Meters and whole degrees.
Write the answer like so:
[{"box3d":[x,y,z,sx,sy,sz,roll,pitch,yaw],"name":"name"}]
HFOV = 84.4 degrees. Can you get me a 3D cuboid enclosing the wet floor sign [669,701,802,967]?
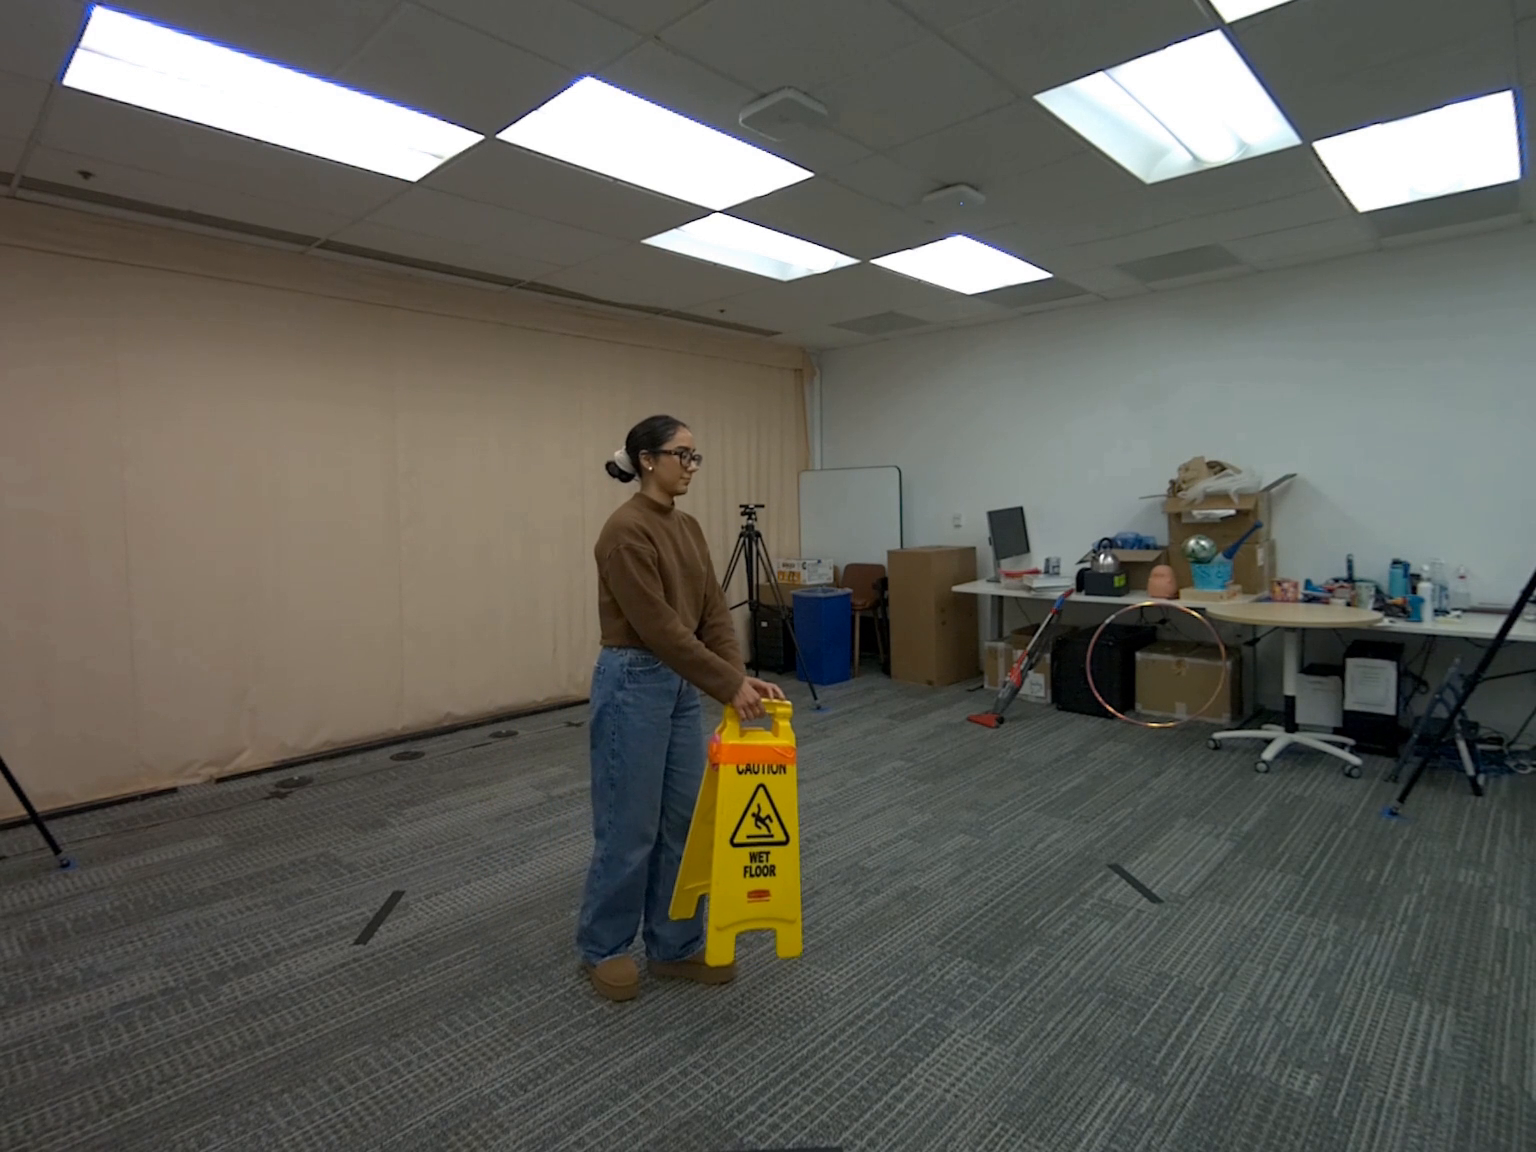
[{"box3d":[-0.053,0.661,2.275,0.275,0.646,0.297,5,1,-26],"name":"wet floor sign"}]
